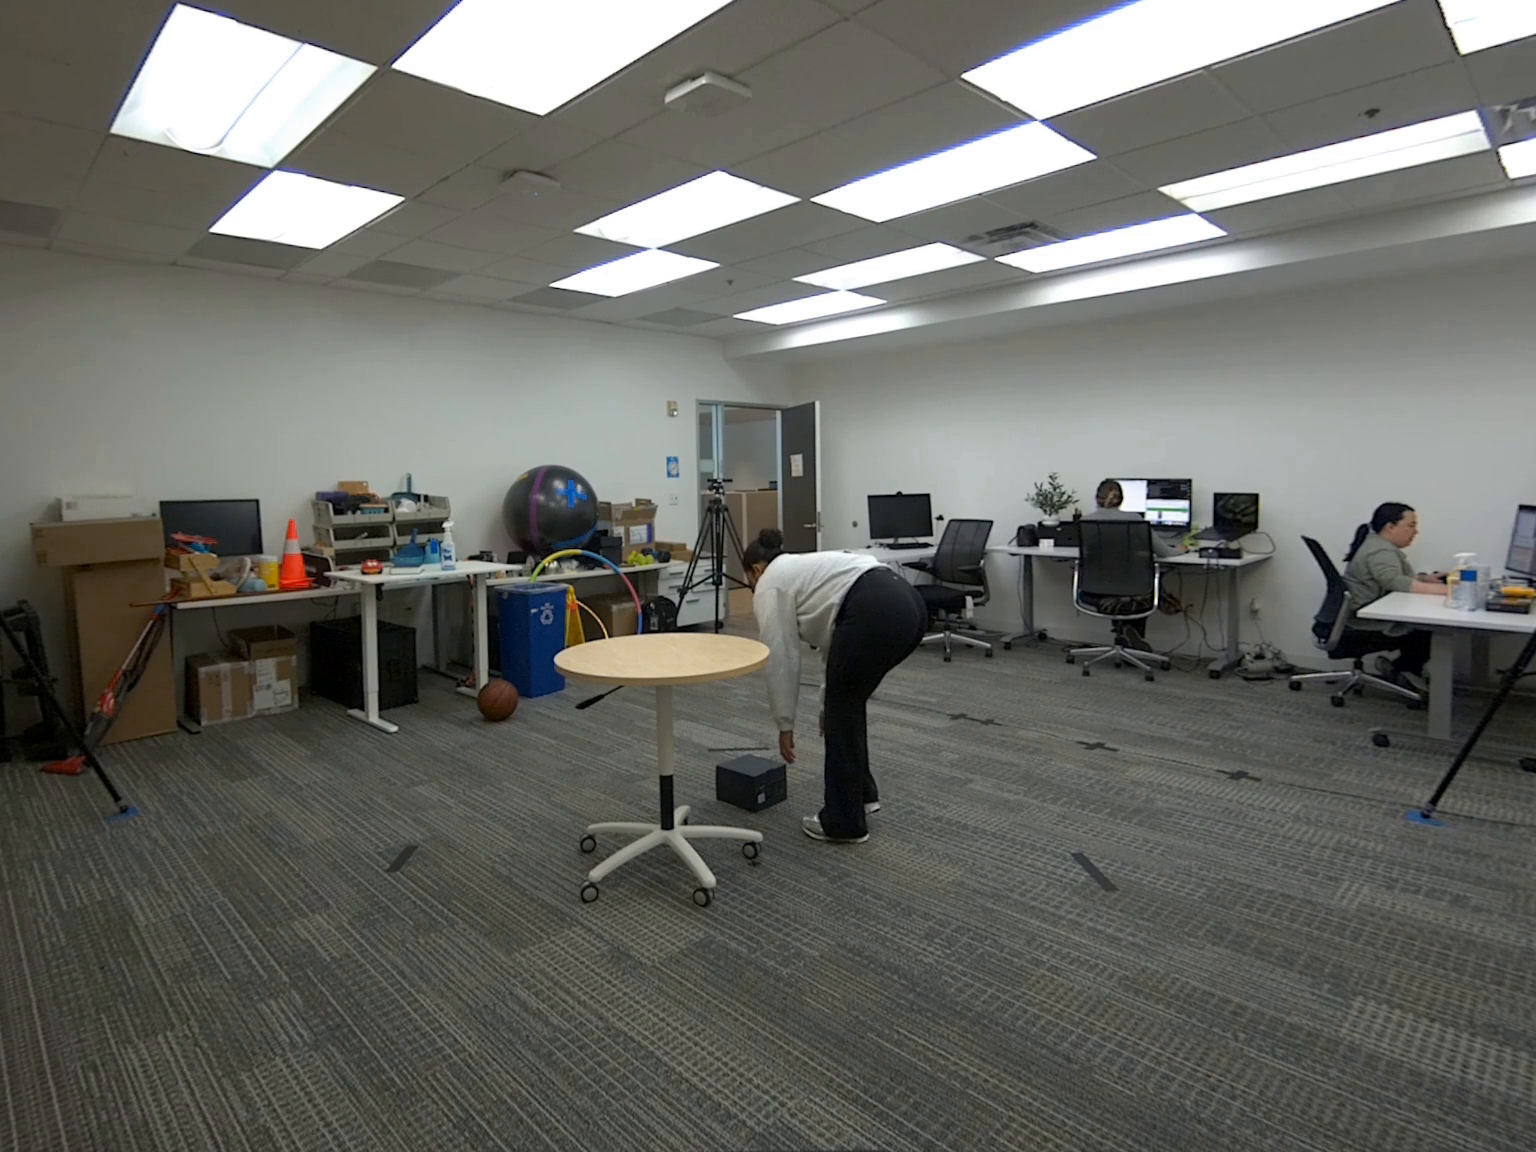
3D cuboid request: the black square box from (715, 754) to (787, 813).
[{"bbox_3d":[-0.070,0.892,3.722,0.235,0.155,0.211,3,7,43],"label":"black square box"}]
